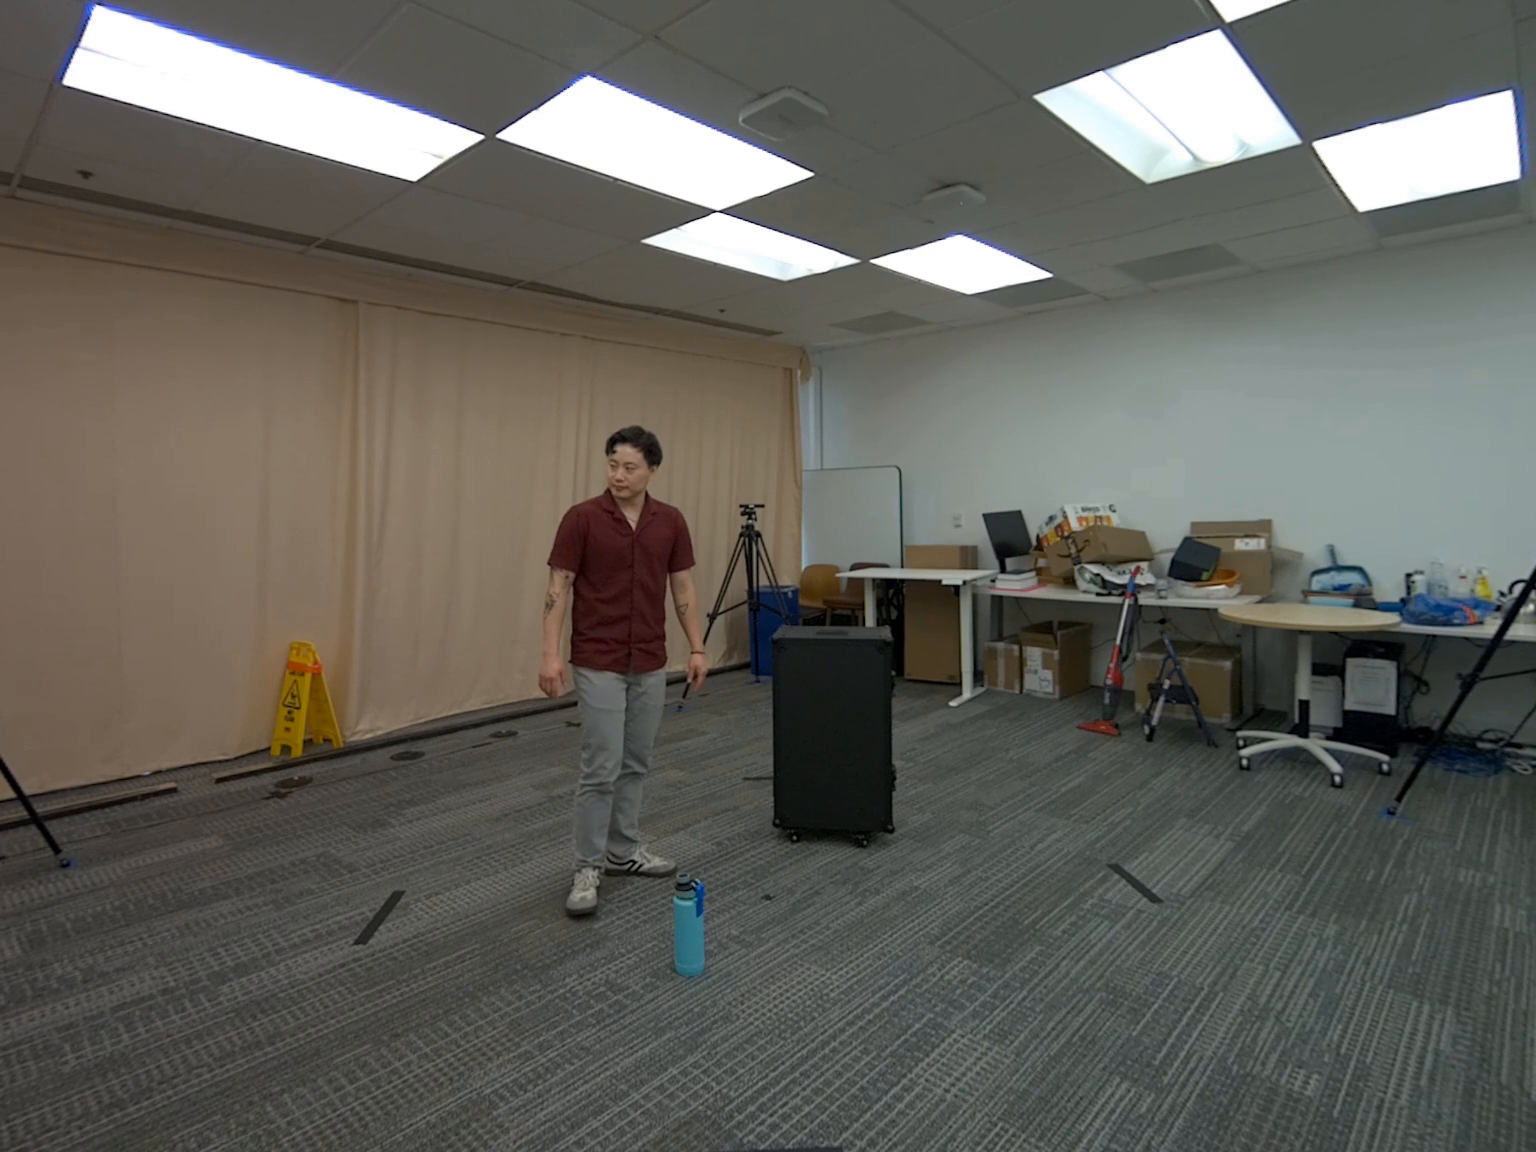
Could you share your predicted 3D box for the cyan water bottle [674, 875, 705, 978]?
[{"bbox_3d":[-0.233,1.044,2.520,0.092,0.283,0.092,0,2,-2],"label":"cyan water bottle"}]
